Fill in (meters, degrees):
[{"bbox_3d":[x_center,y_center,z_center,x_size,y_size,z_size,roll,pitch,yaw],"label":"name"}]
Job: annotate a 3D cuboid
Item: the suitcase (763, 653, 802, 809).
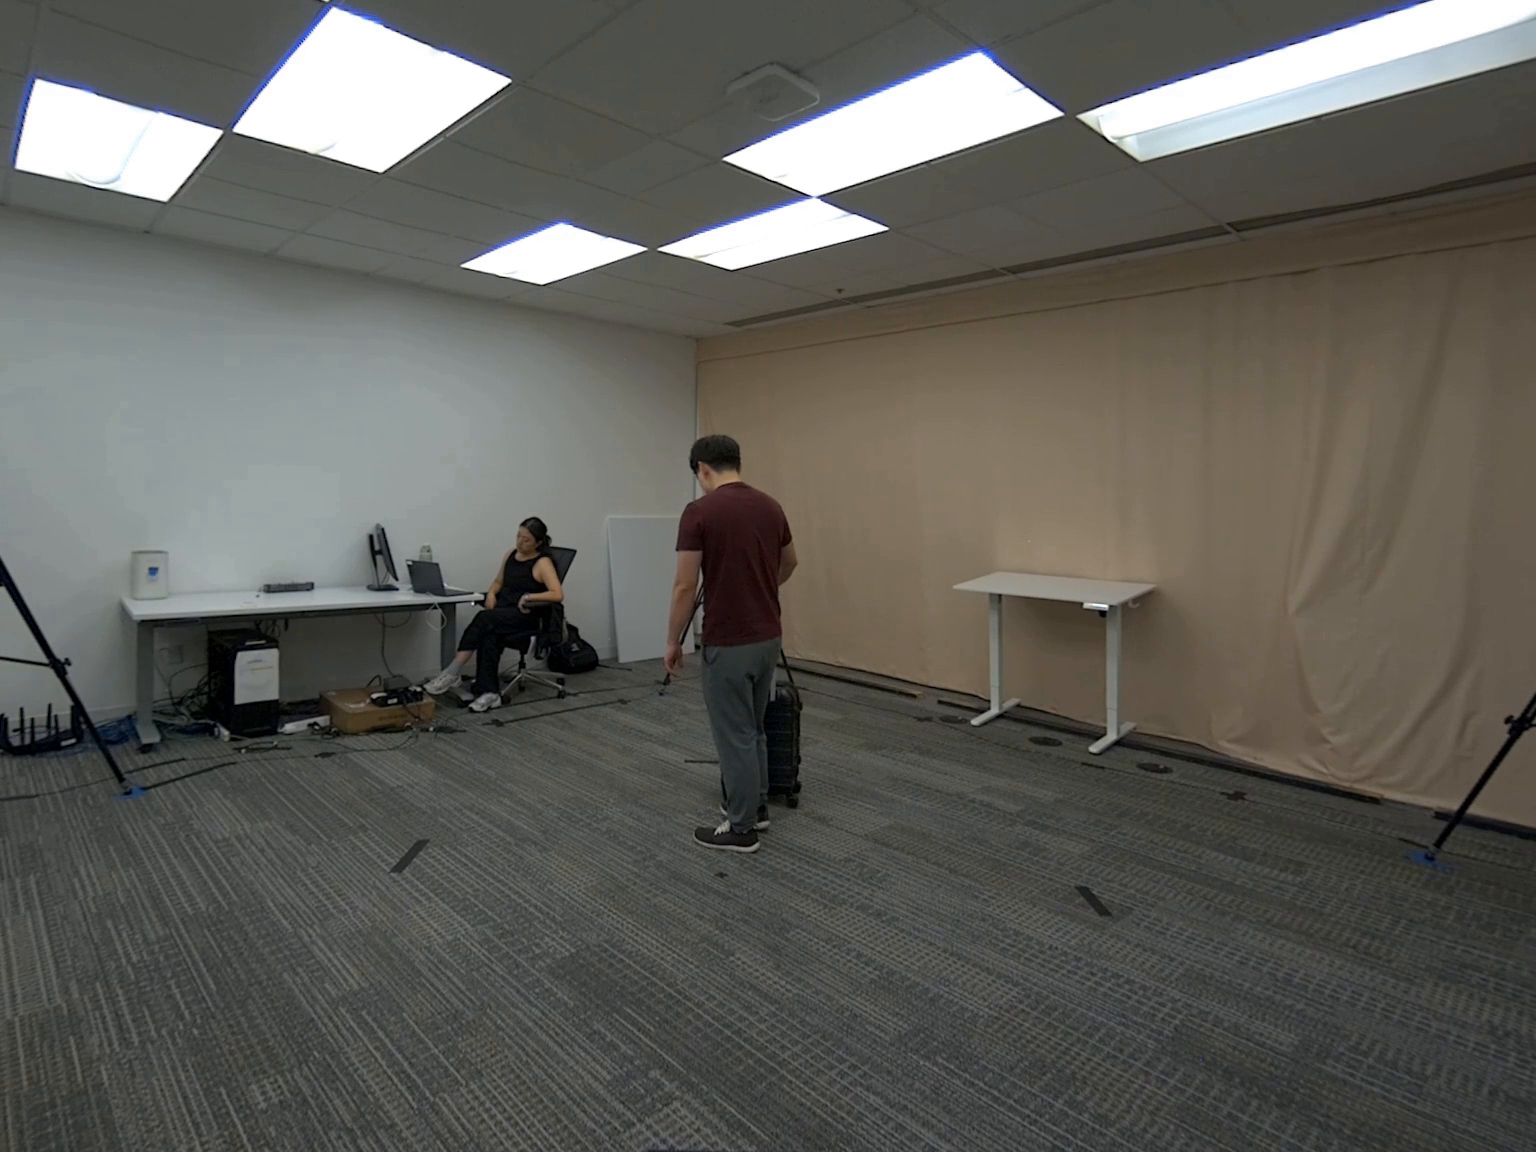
[{"bbox_3d":[-0.040,0.559,3.929,0.386,0.978,0.256,1,1,6],"label":"suitcase"}]
